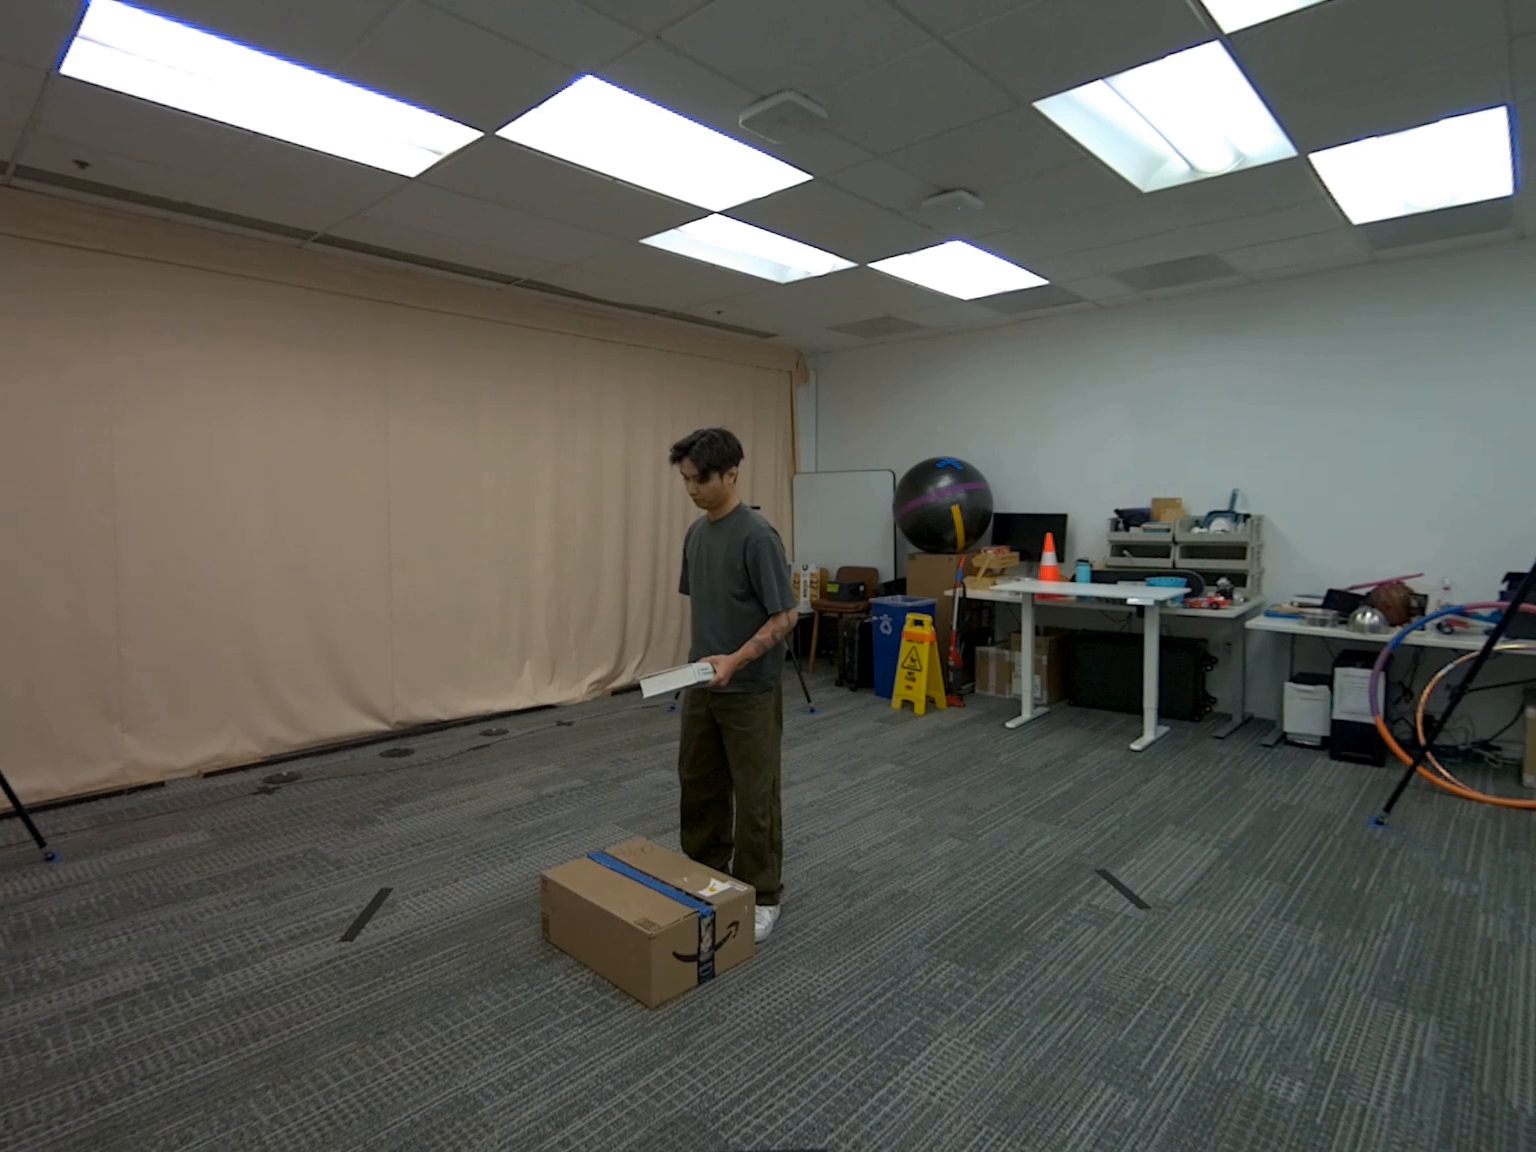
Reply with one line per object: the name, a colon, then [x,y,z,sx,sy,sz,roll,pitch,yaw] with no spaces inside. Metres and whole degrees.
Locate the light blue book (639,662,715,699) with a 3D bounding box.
light blue book: [-0.278,0.321,2.605,0.193,0.059,0.256,-16,-8,9]
